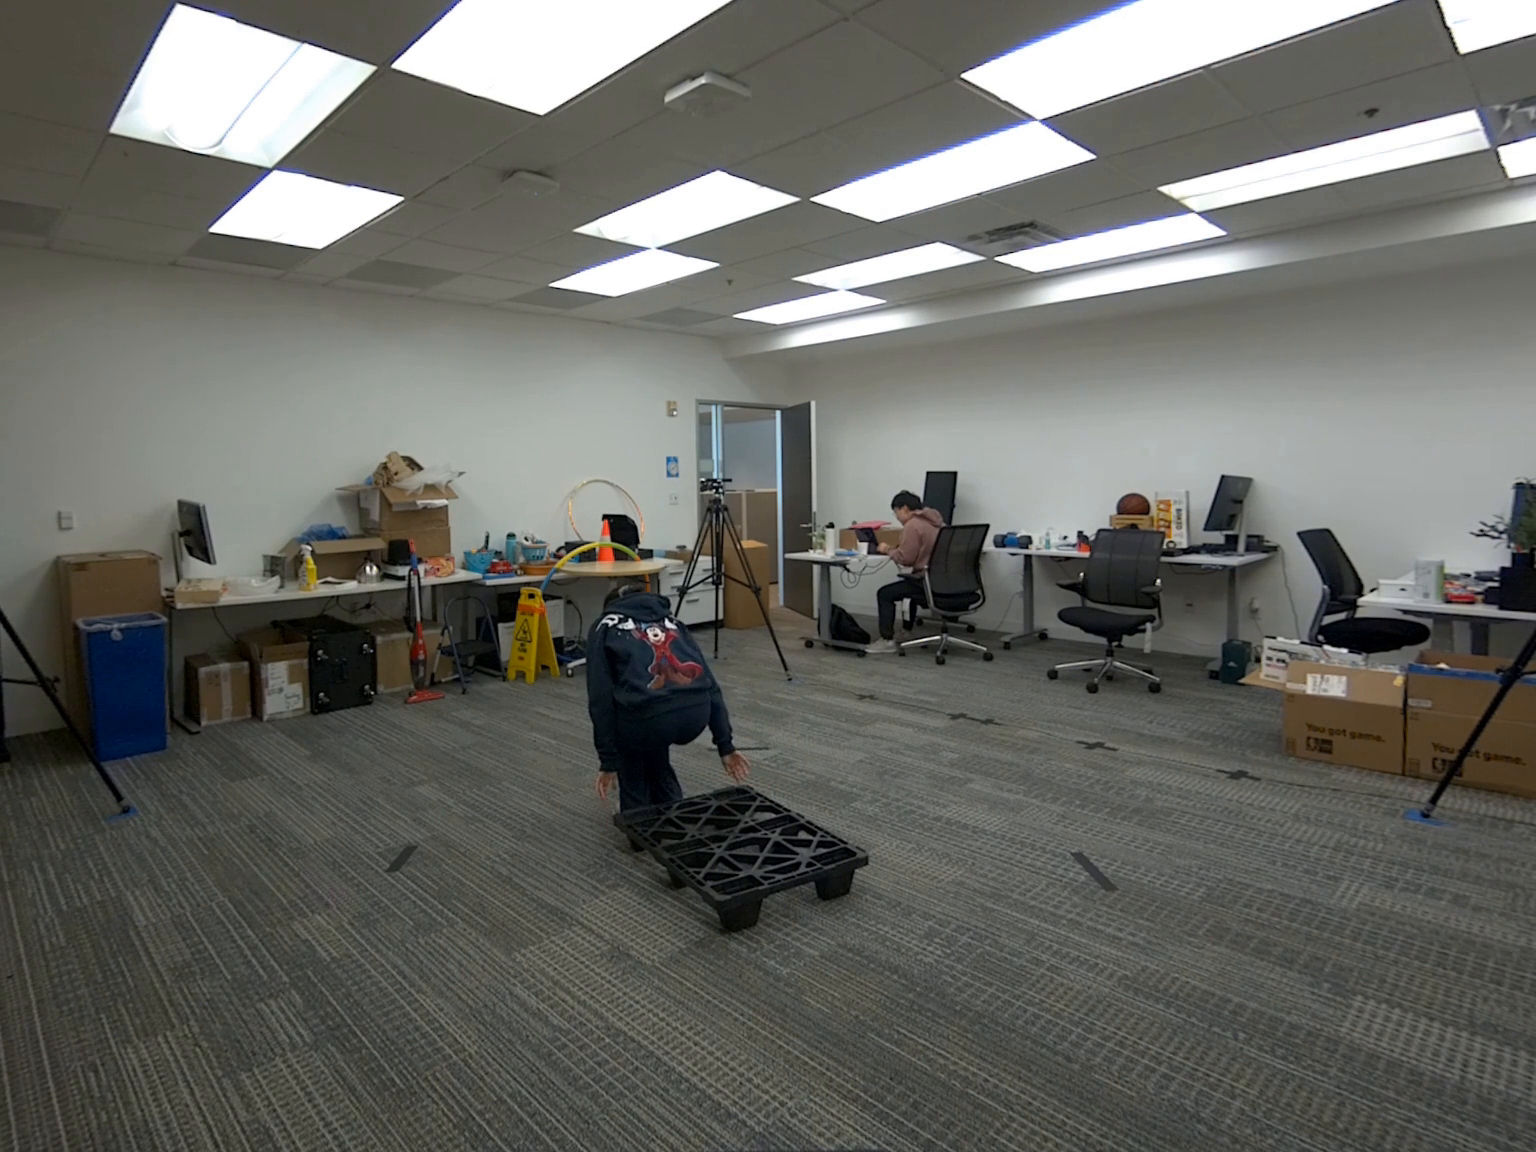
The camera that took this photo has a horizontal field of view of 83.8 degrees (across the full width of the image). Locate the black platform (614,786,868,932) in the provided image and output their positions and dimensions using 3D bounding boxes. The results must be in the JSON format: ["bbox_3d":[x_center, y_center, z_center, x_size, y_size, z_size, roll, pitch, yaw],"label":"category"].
[{"bbox_3d":[-0.120,0.984,3.050,0.591,0.142,0.829,-5,8,-32],"label":"black platform"}]
